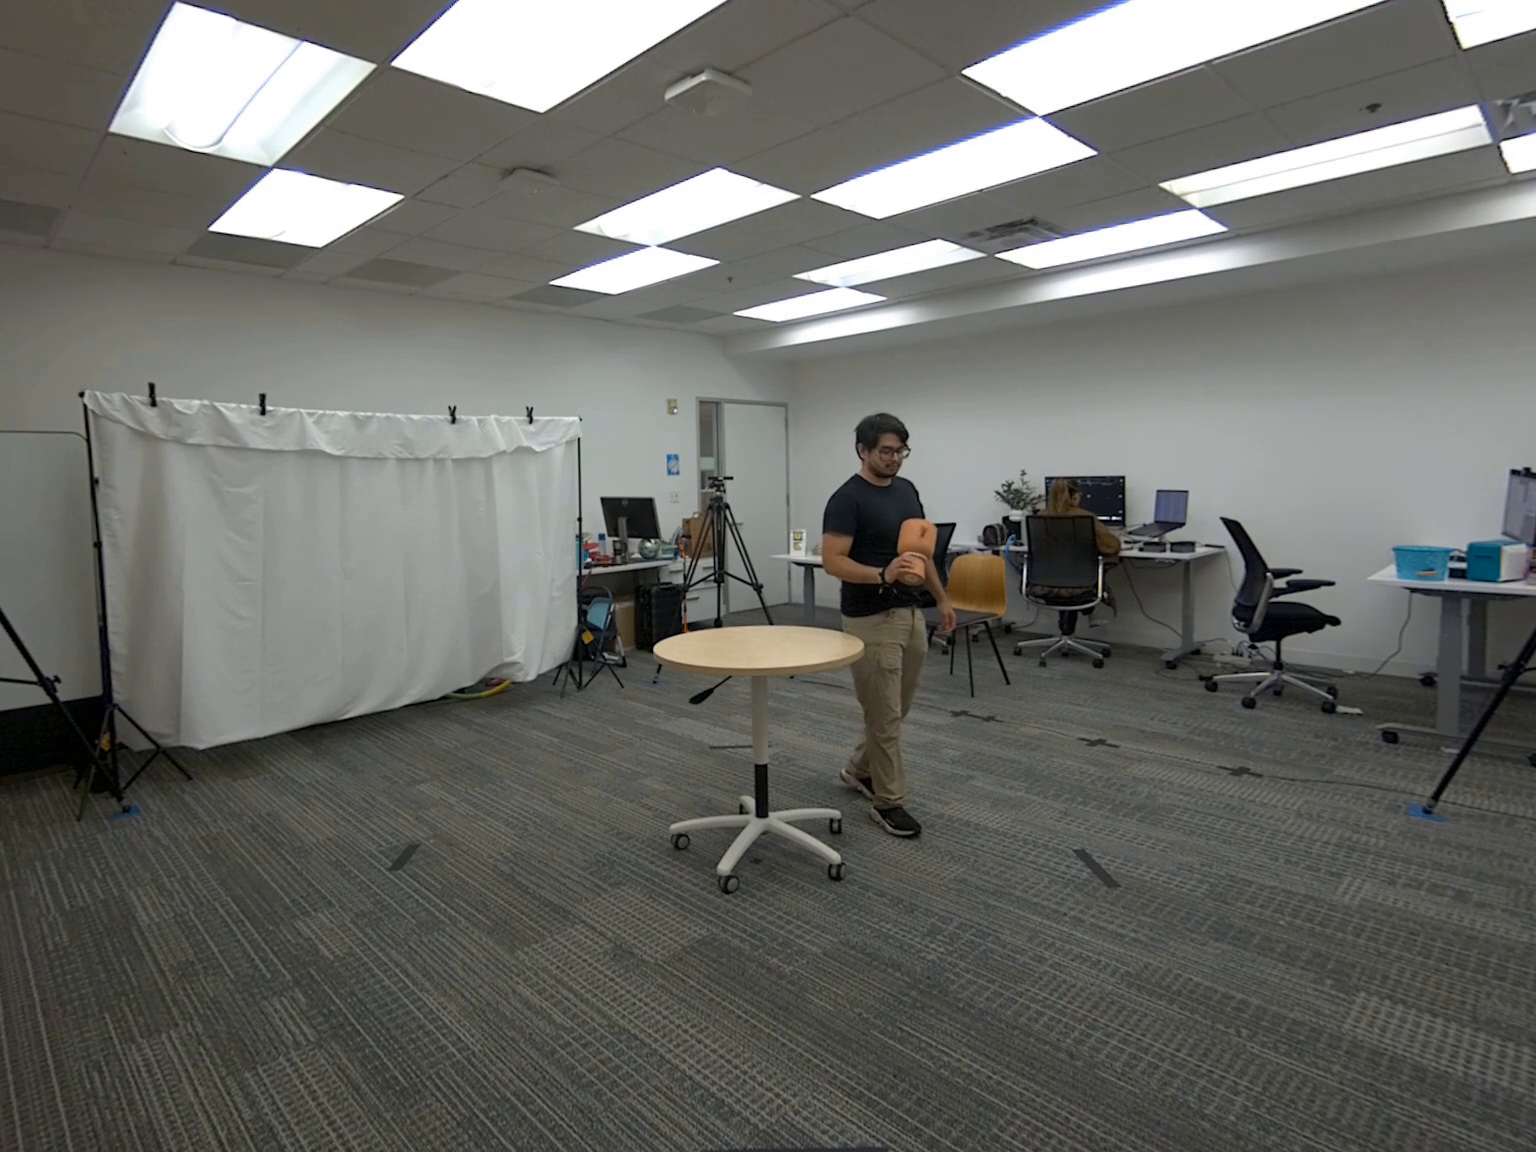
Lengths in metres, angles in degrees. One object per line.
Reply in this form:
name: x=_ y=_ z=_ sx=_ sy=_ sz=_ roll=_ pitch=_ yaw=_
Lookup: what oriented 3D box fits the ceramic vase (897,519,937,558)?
ceramic vase: x=0.528 y=-0.081 z=3.147 sx=0.138 sy=0.223 sz=0.152 roll=-5 pitch=-33 yaw=32
